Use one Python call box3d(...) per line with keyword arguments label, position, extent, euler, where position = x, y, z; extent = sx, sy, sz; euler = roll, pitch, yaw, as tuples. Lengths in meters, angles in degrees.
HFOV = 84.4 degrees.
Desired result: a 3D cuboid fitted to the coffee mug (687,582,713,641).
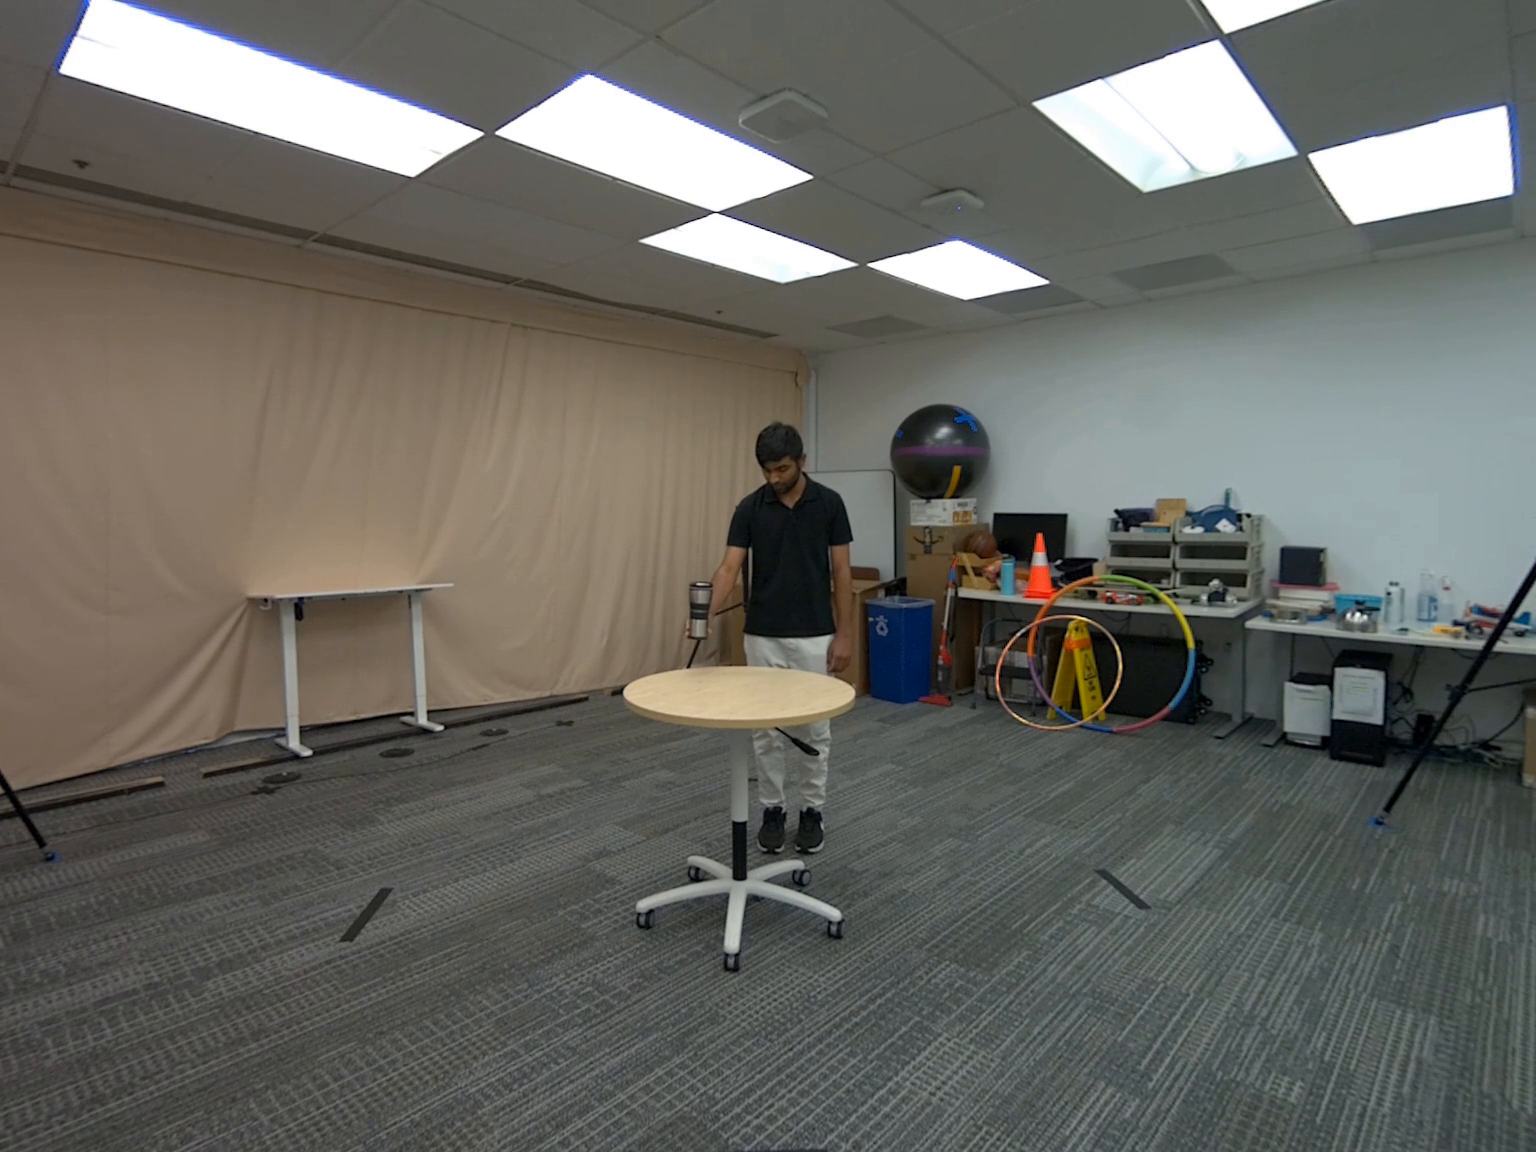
box3d(label="coffee mug", position=(-0.228, 0.128, 3.062), extent=(0.090, 0.203, 0.119), euler=(1, 3, 30))
